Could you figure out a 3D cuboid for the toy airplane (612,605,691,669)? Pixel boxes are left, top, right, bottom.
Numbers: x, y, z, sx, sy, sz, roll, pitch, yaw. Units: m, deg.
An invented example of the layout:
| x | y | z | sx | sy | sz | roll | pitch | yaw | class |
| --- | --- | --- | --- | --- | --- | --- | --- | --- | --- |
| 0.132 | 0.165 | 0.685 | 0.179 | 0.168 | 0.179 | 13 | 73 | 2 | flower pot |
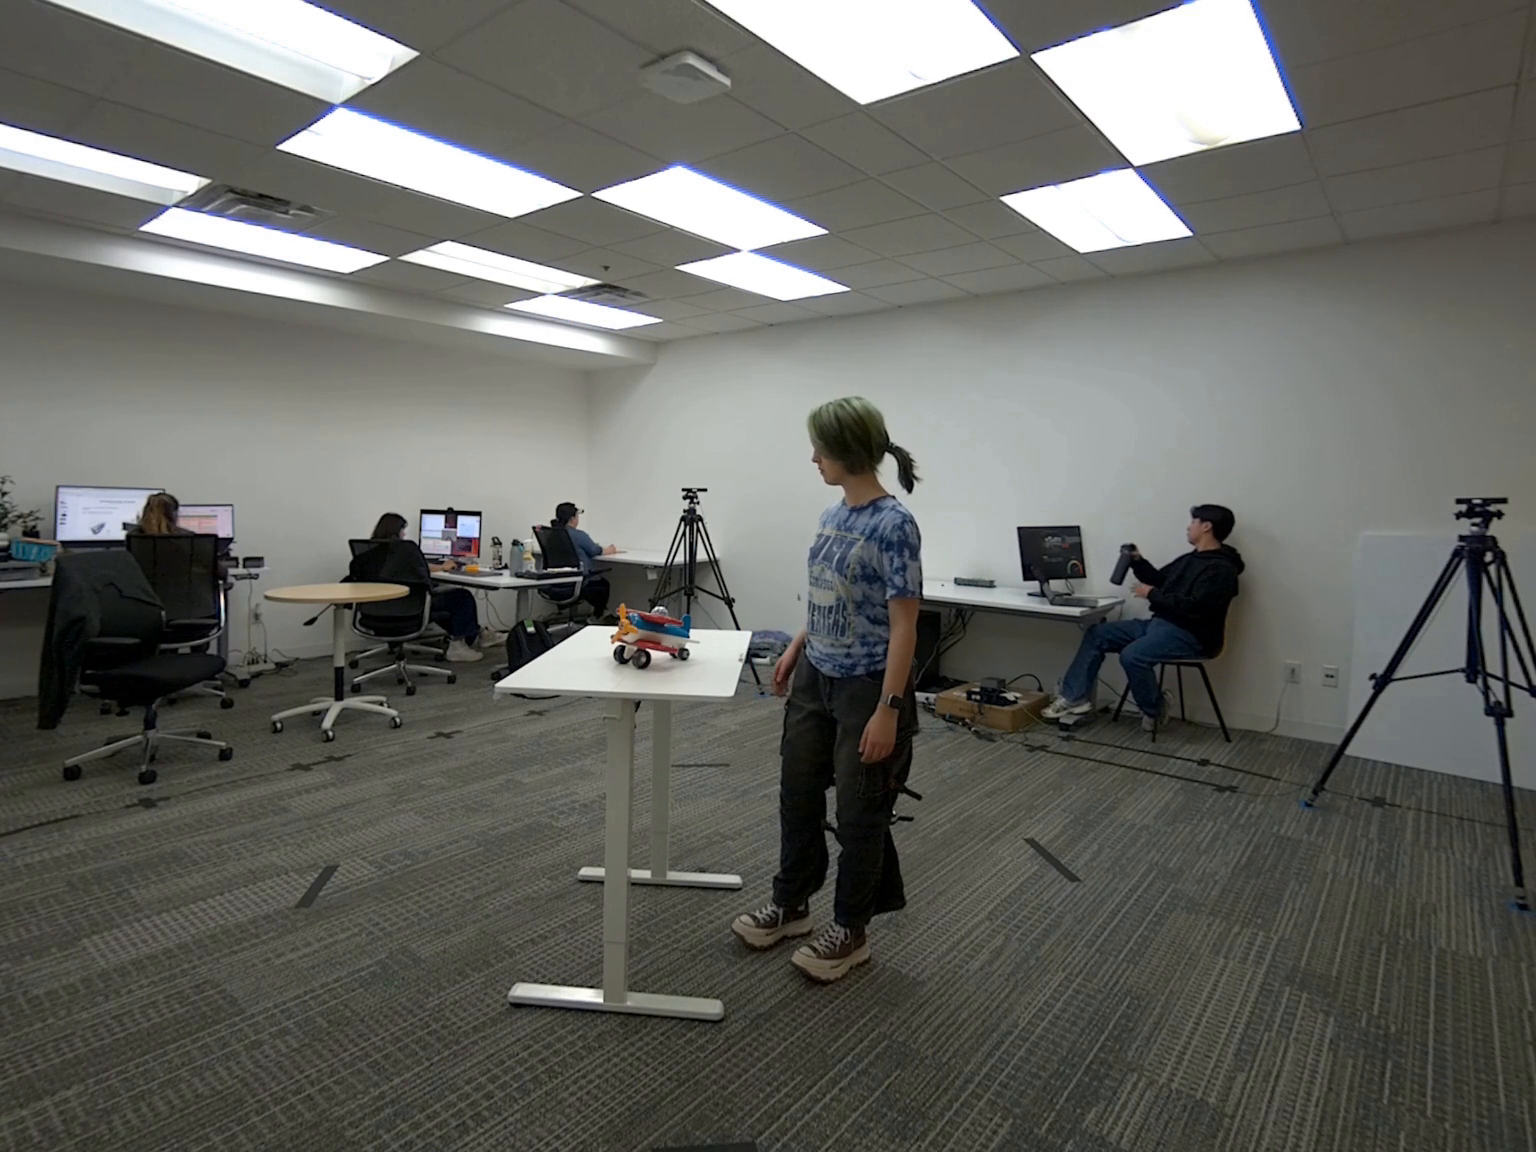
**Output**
| x | y | z | sx | sy | sz | roll | pitch | yaw | class |
| --- | --- | --- | --- | --- | --- | --- | --- | --- | --- |
| -0.349 | 0.172 | 2.472 | 0.256 | 0.156 | 0.255 | 3 | 6 | 17 | toy airplane |
